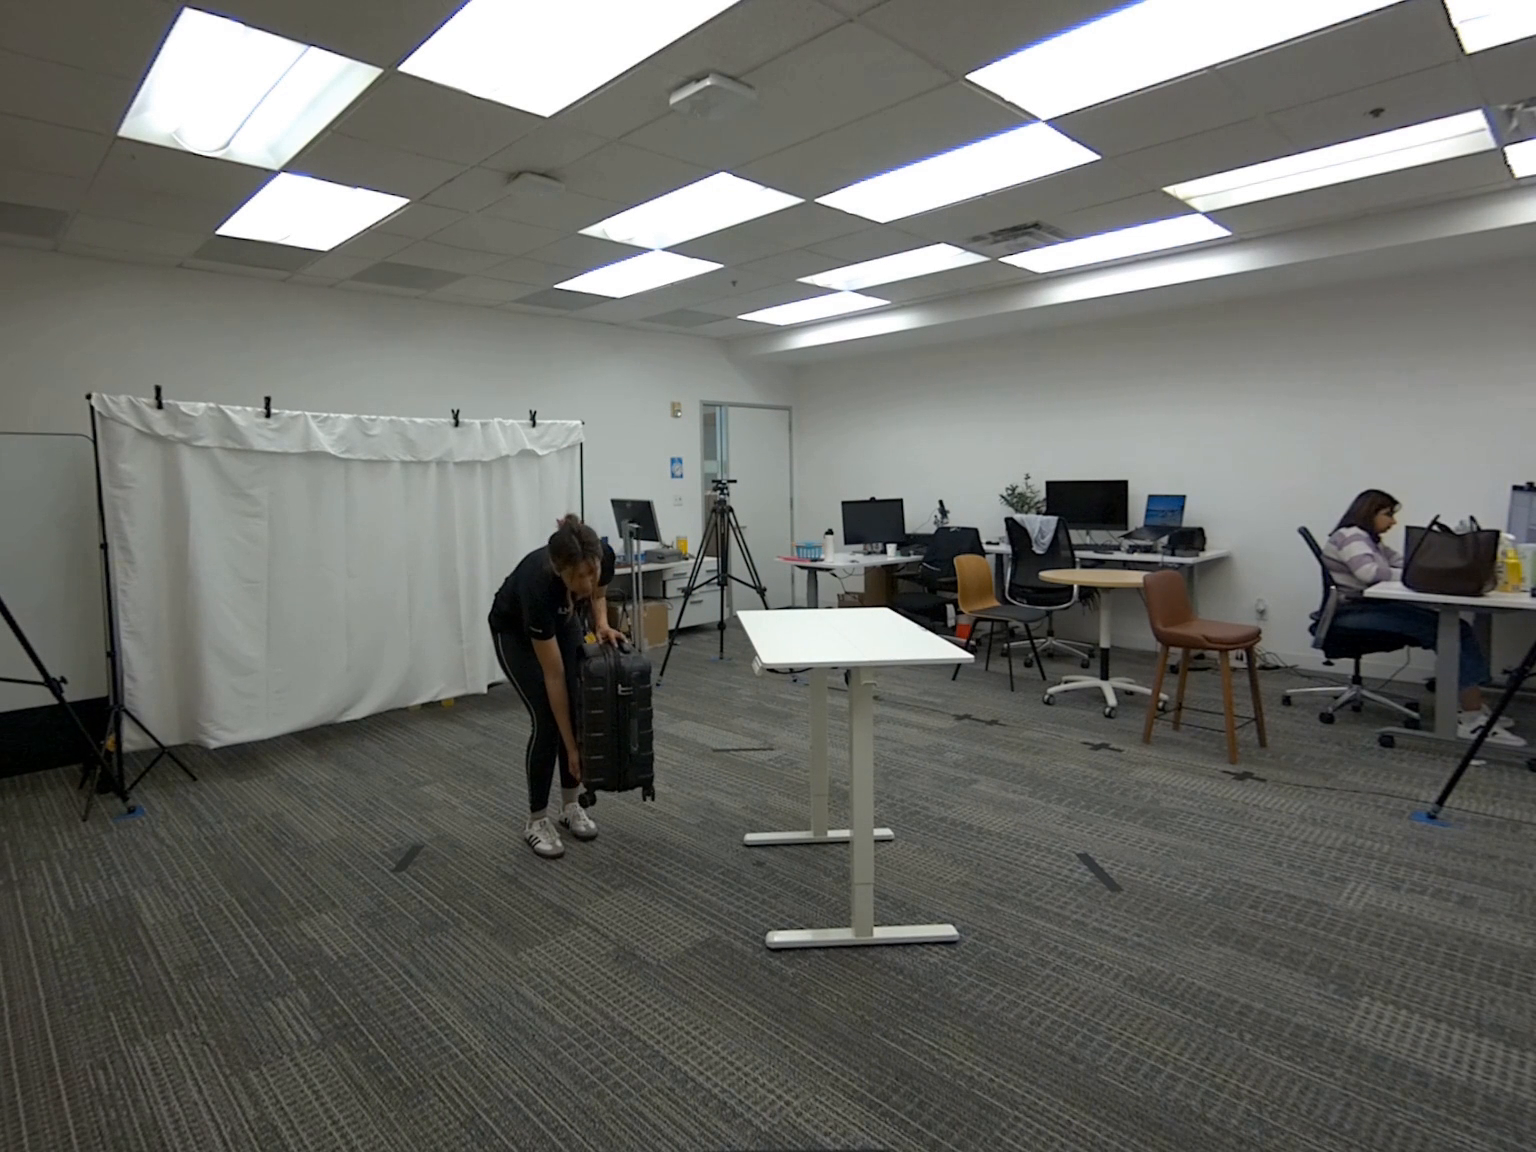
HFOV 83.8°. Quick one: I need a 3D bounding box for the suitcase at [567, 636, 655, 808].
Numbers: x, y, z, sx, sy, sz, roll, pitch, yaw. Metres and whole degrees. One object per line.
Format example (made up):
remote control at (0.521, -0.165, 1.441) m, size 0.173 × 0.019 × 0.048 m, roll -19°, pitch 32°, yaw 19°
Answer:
suitcase at (-0.571, 0.318, 3.110) m, size 0.254 × 0.974 × 0.390 m, roll -3°, pitch 5°, yaw -12°
